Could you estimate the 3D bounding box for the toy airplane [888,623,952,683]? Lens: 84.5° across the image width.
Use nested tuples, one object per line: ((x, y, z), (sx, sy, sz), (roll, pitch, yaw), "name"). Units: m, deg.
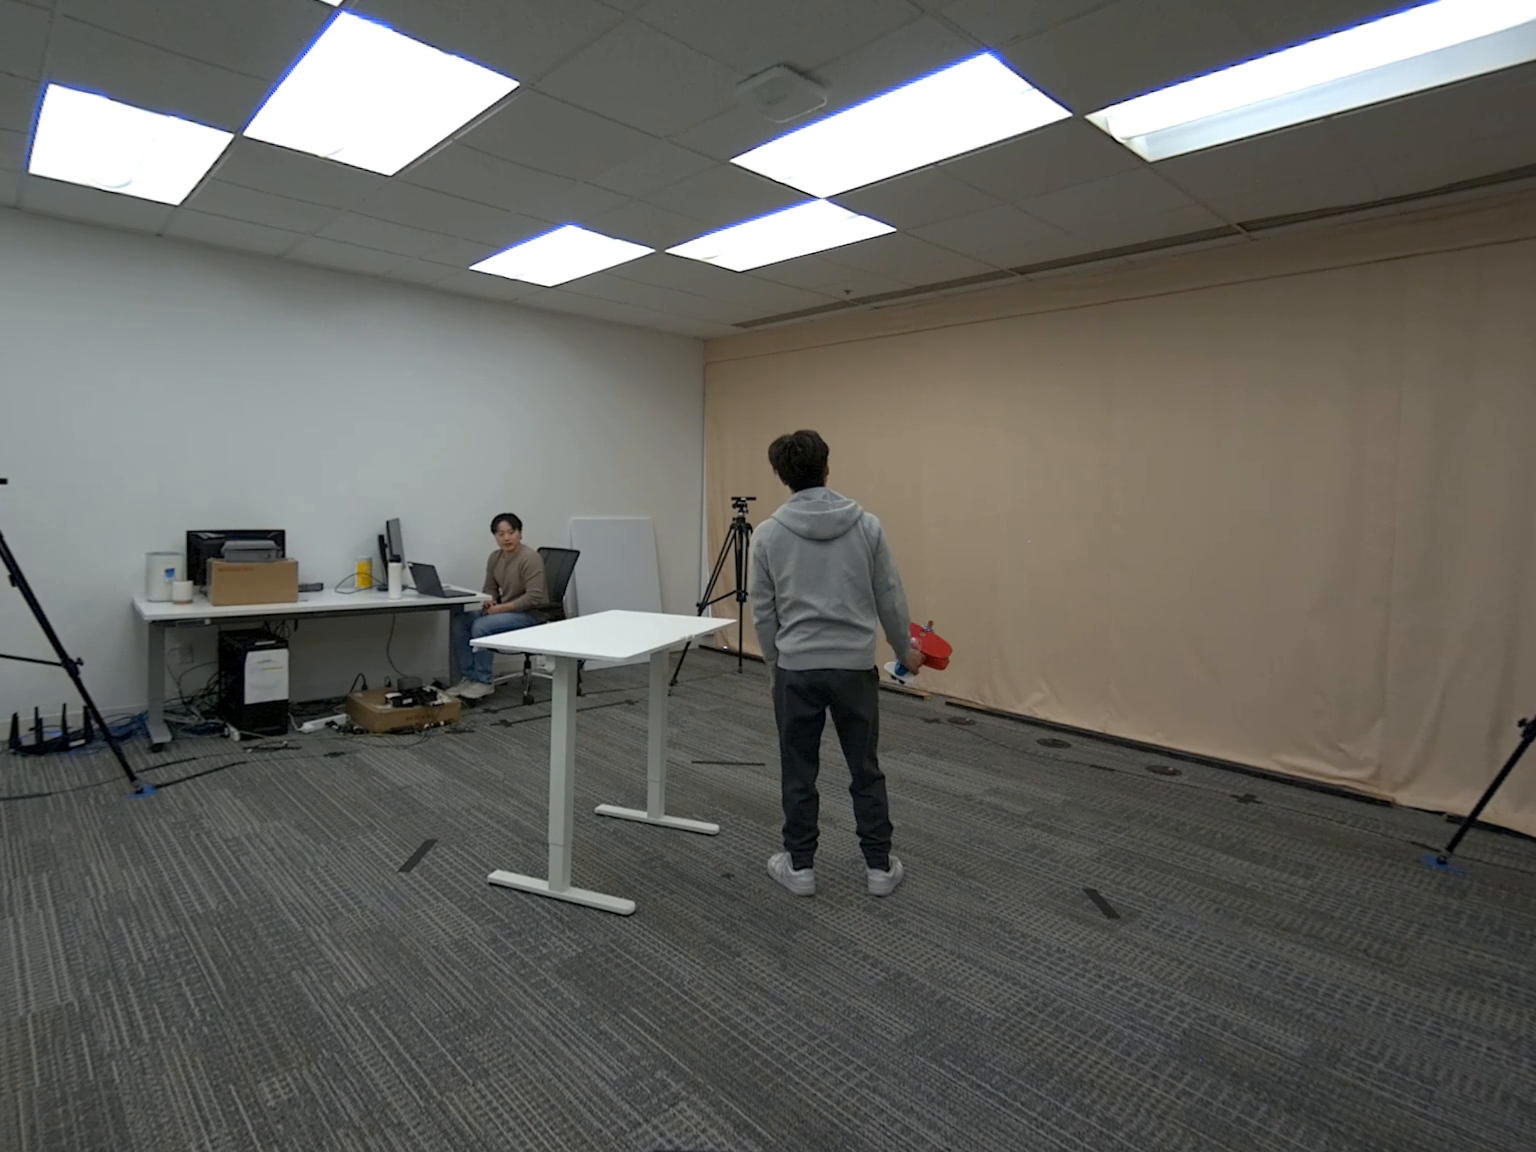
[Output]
((0.573, 0.308, 3.225), (0.251, 0.153, 0.264), (8, 40, 0), "toy airplane")
